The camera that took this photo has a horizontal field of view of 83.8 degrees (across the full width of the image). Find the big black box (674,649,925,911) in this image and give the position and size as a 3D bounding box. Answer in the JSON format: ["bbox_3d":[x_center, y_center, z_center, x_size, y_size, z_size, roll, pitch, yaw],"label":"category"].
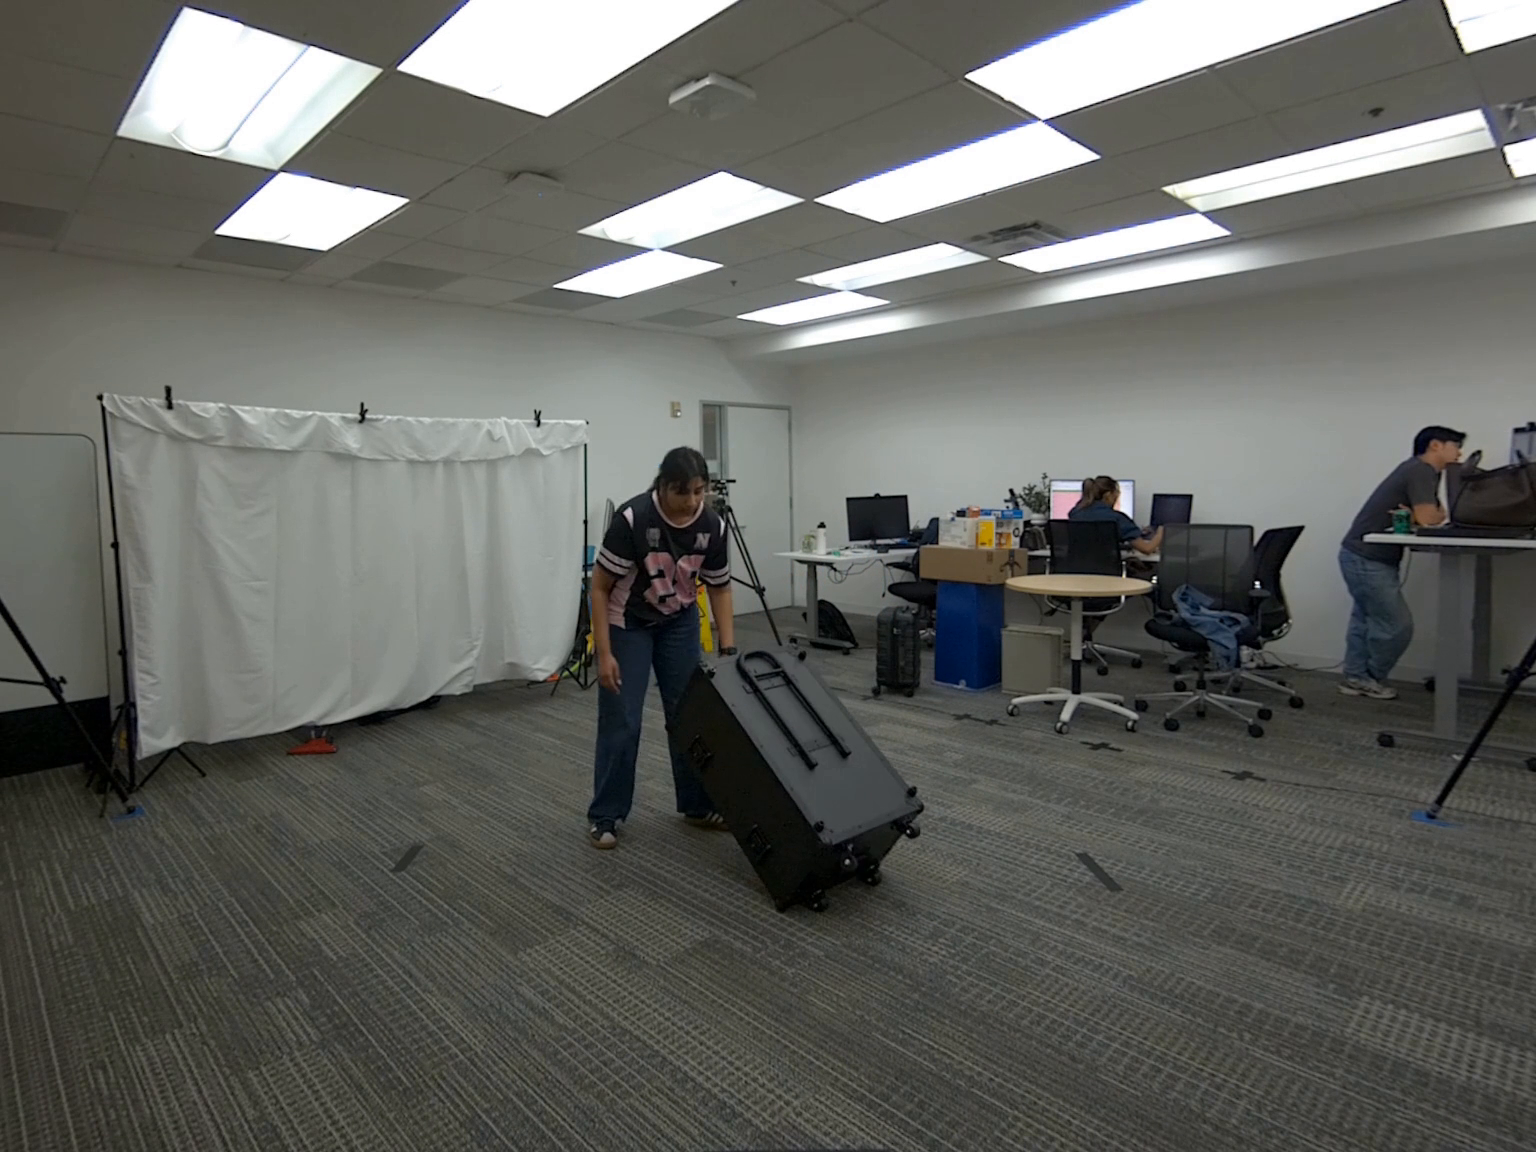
[{"bbox_3d":[0.100,0.689,3.024,0.509,0.381,0.901,-4,43,-41],"label":"big black box"}]
